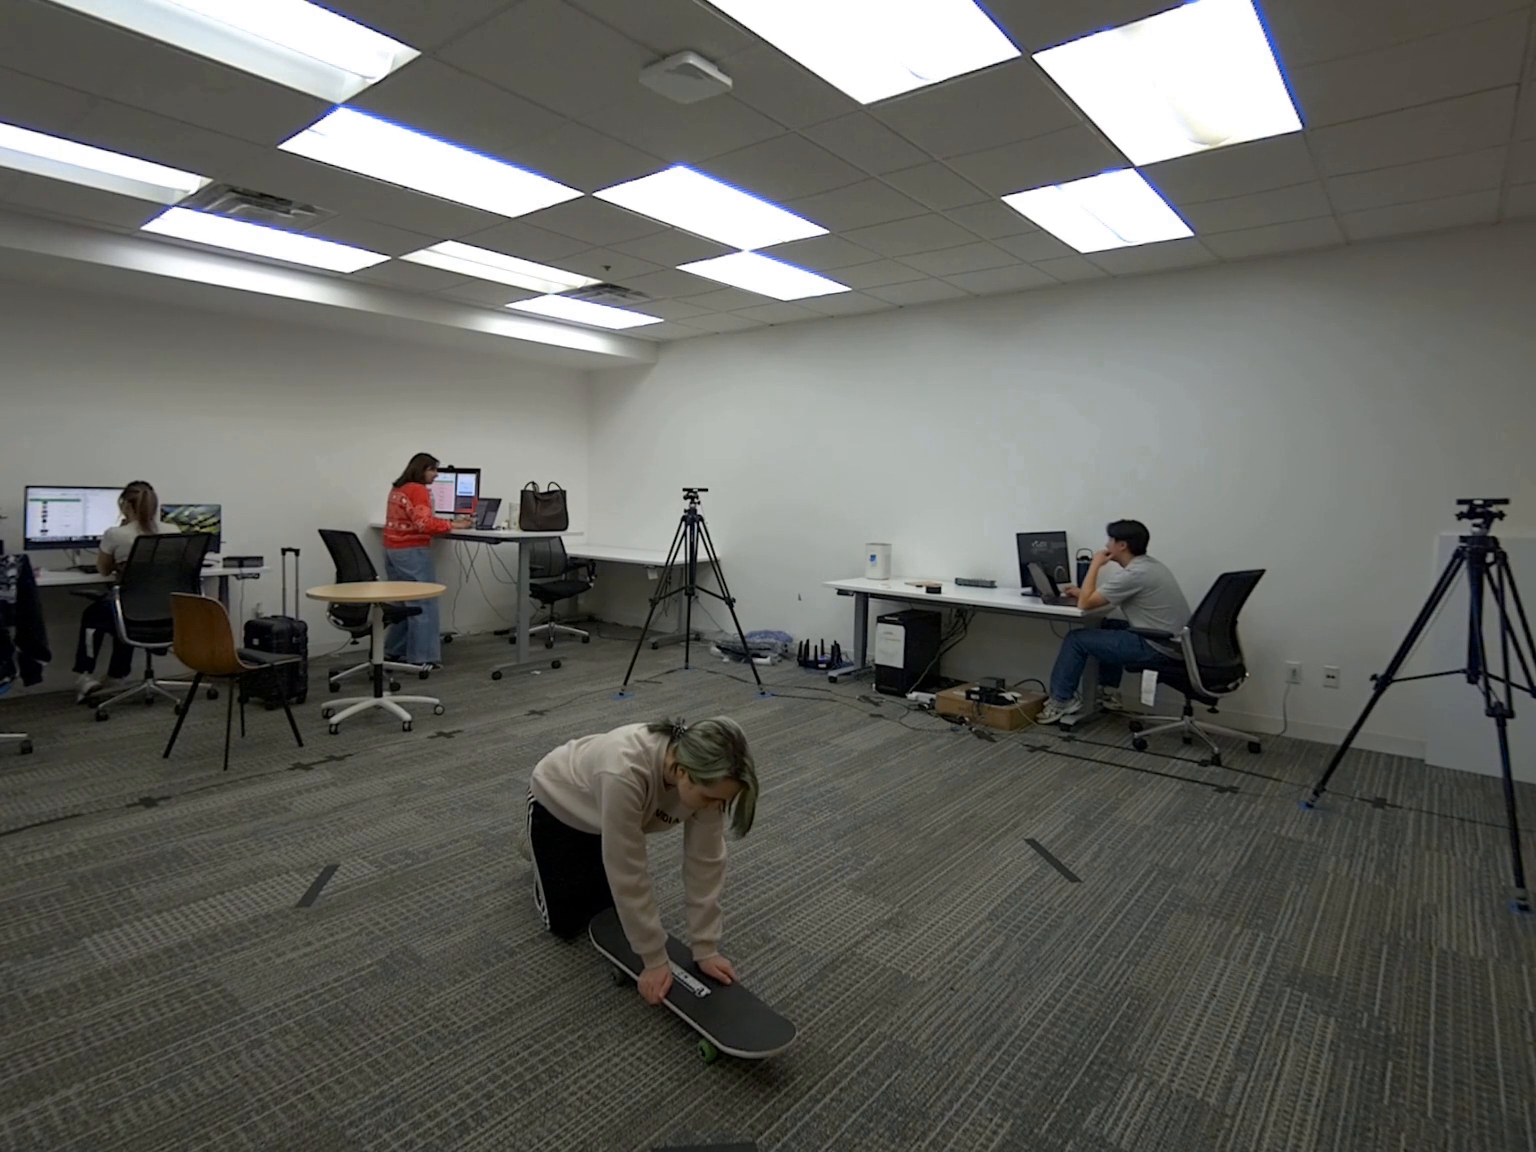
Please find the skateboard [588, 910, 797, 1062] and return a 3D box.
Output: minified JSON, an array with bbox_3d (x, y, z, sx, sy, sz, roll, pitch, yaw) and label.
[{"bbox_3d":[-0.233,1.101,2.269,0.188,0.110,0.812,-5,8,-41],"label":"skateboard"}]
